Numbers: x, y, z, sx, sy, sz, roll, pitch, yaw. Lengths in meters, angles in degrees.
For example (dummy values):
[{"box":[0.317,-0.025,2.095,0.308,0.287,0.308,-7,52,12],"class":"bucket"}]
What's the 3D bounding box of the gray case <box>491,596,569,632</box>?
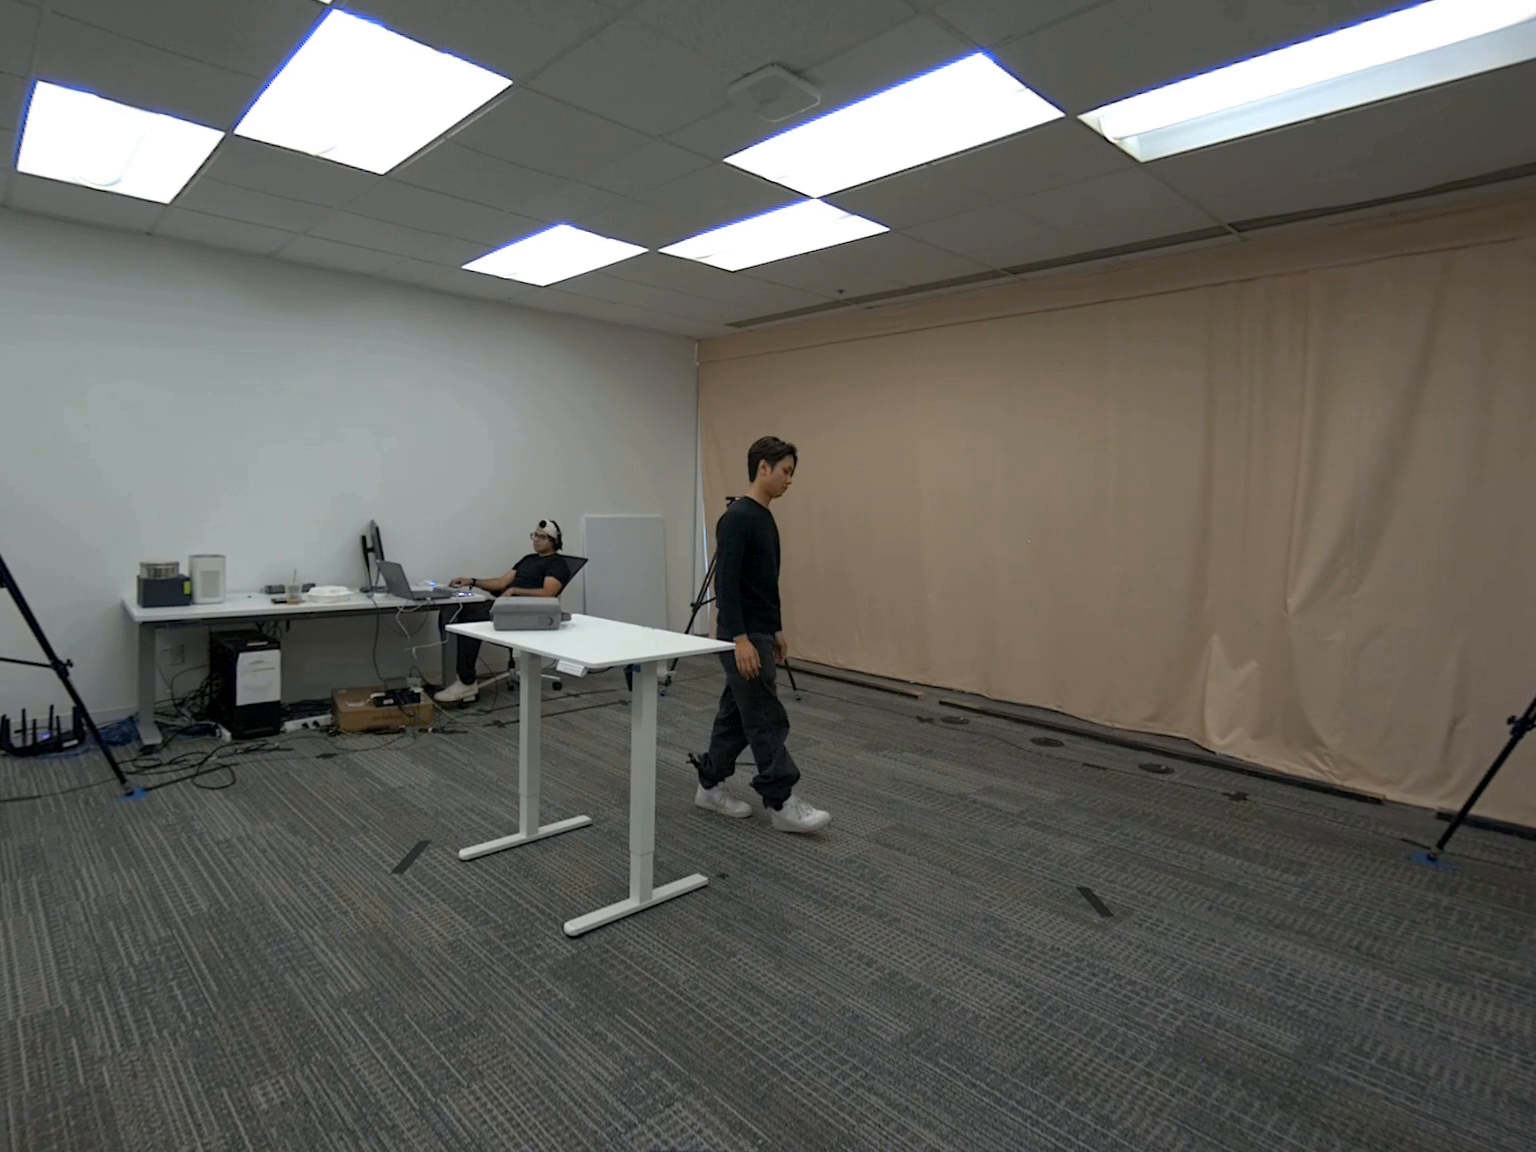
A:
[{"box":[-0.933,0.141,3.257,0.258,0.104,0.260,0,5,-13],"class":"gray case"}]
